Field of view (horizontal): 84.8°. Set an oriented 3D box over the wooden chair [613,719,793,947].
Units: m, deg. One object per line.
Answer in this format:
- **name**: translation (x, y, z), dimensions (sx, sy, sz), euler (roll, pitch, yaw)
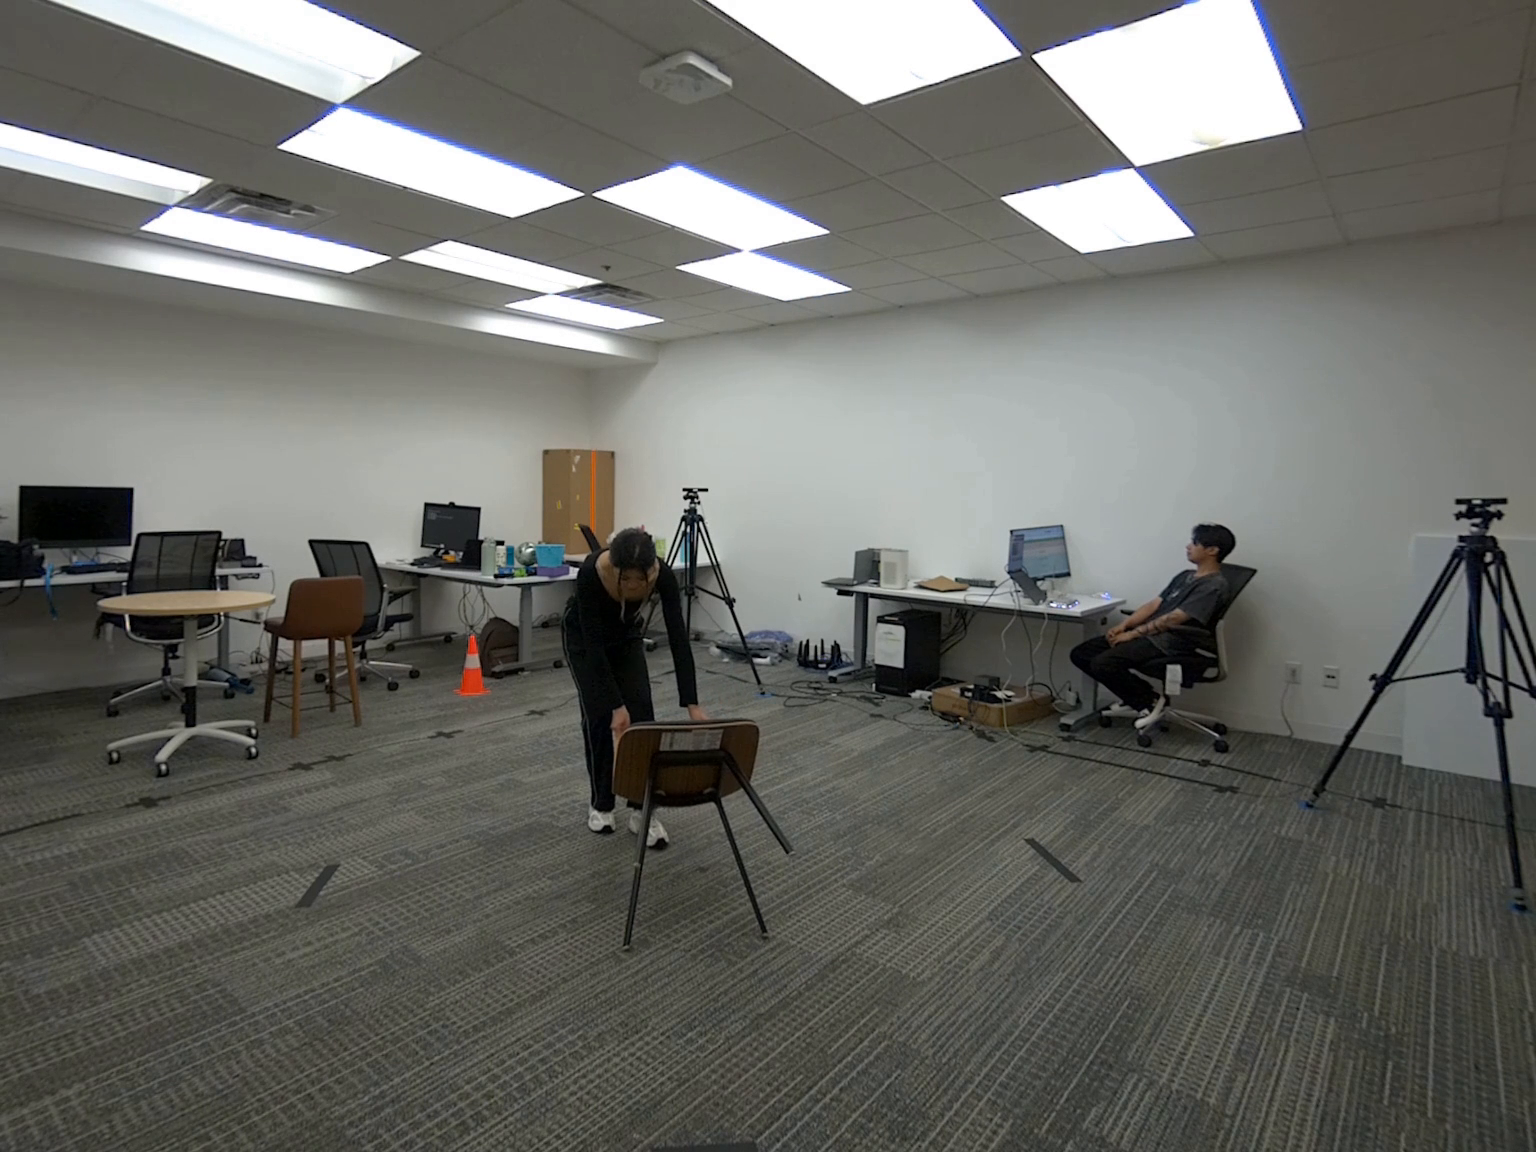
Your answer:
- **wooden chair**: translation (-0.270, 0.661, 2.795), dimensions (0.472, 0.511, 0.909), euler (-1, 35, -13)
